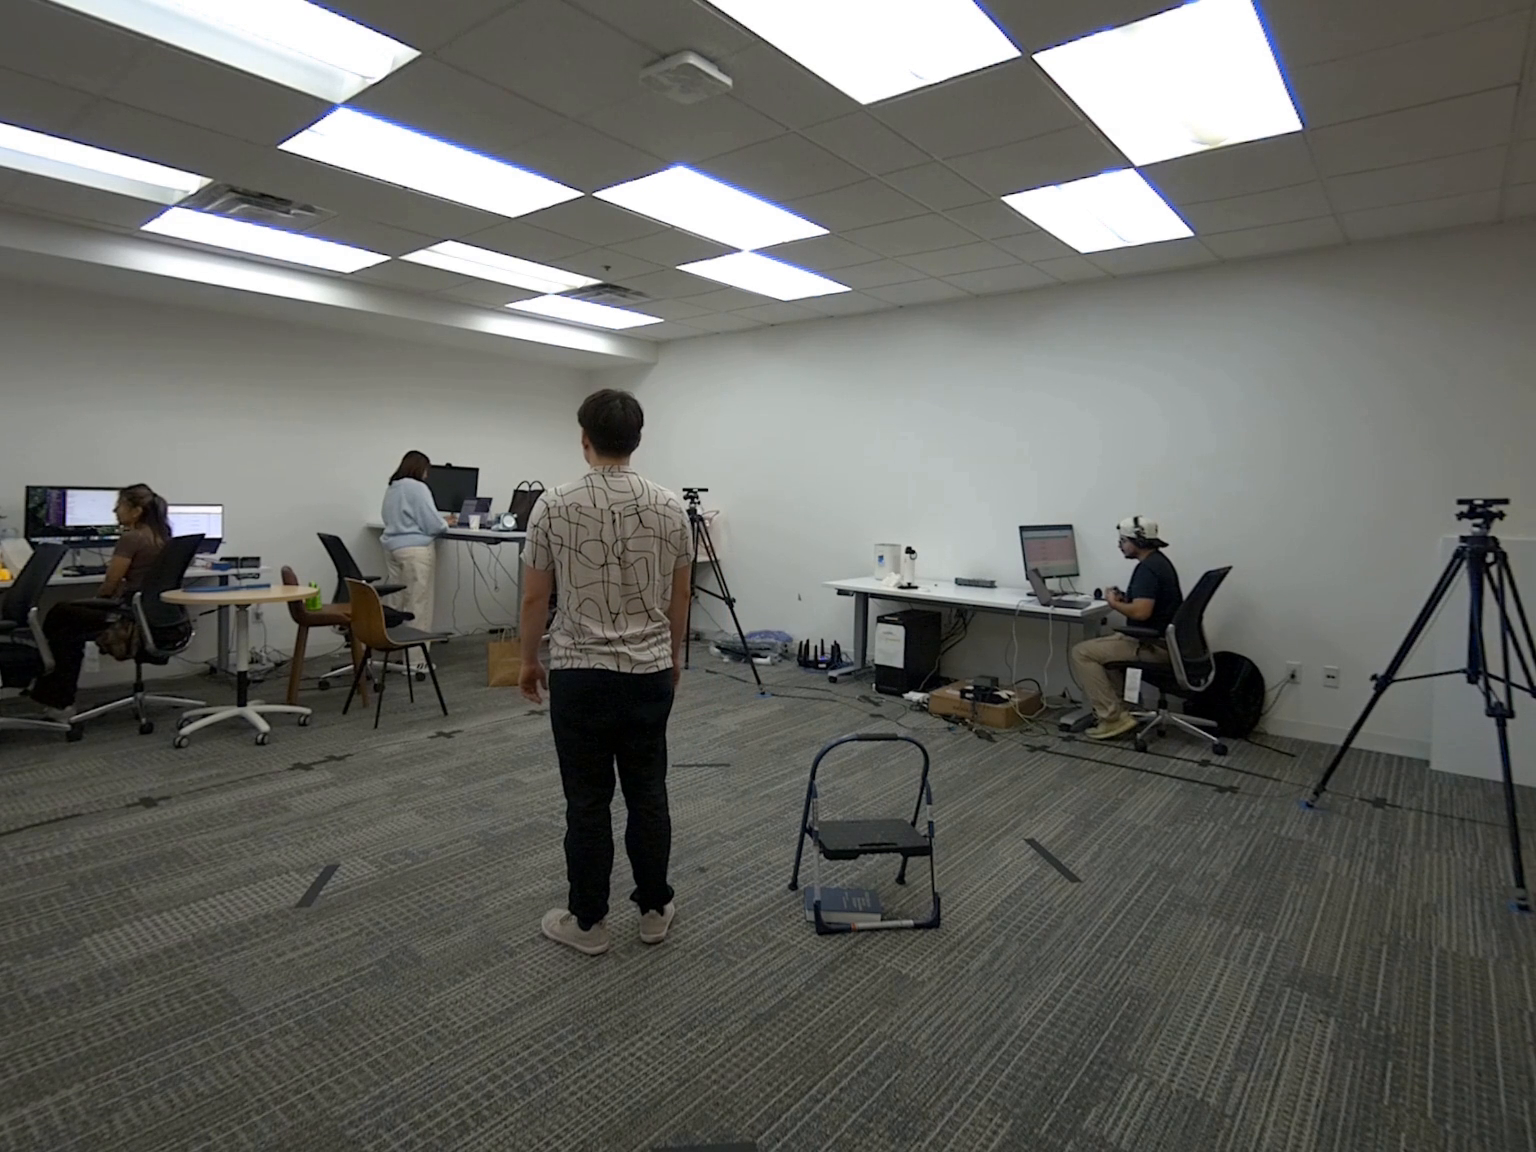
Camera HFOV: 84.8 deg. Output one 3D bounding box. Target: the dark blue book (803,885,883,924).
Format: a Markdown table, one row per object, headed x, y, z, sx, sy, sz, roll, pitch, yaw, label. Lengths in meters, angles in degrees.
| x | y | z | sx | sy | sz | roll | pitch | yaw | label |
| --- | --- | --- | --- | --- | --- | --- | --- | --- | --- |
| 0.249 | 1.093 | 2.820 | 0.246 | 0.045 | 0.164 | 1 | 7 | 2 | dark blue book |
